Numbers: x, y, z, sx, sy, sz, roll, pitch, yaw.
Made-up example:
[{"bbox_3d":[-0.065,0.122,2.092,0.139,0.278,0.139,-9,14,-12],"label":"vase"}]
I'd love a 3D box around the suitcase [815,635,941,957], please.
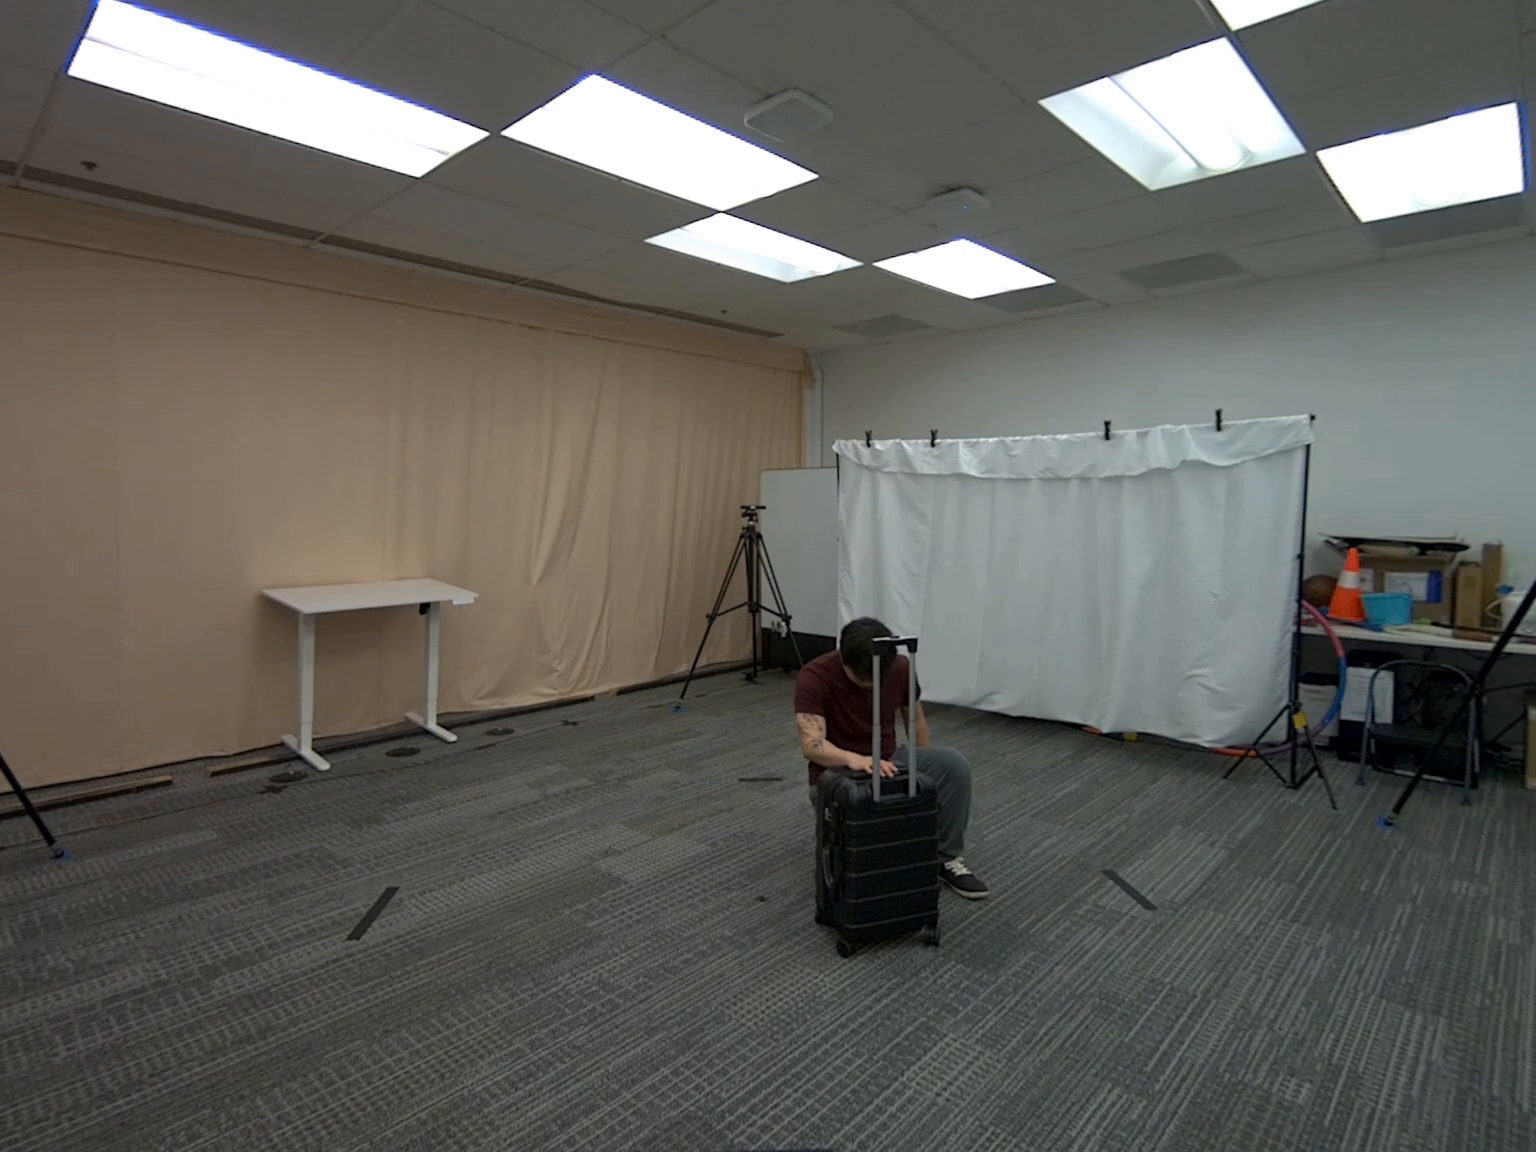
[{"bbox_3d":[0.351,0.683,2.719,0.377,0.977,0.262,0,2,-17],"label":"suitcase"}]
